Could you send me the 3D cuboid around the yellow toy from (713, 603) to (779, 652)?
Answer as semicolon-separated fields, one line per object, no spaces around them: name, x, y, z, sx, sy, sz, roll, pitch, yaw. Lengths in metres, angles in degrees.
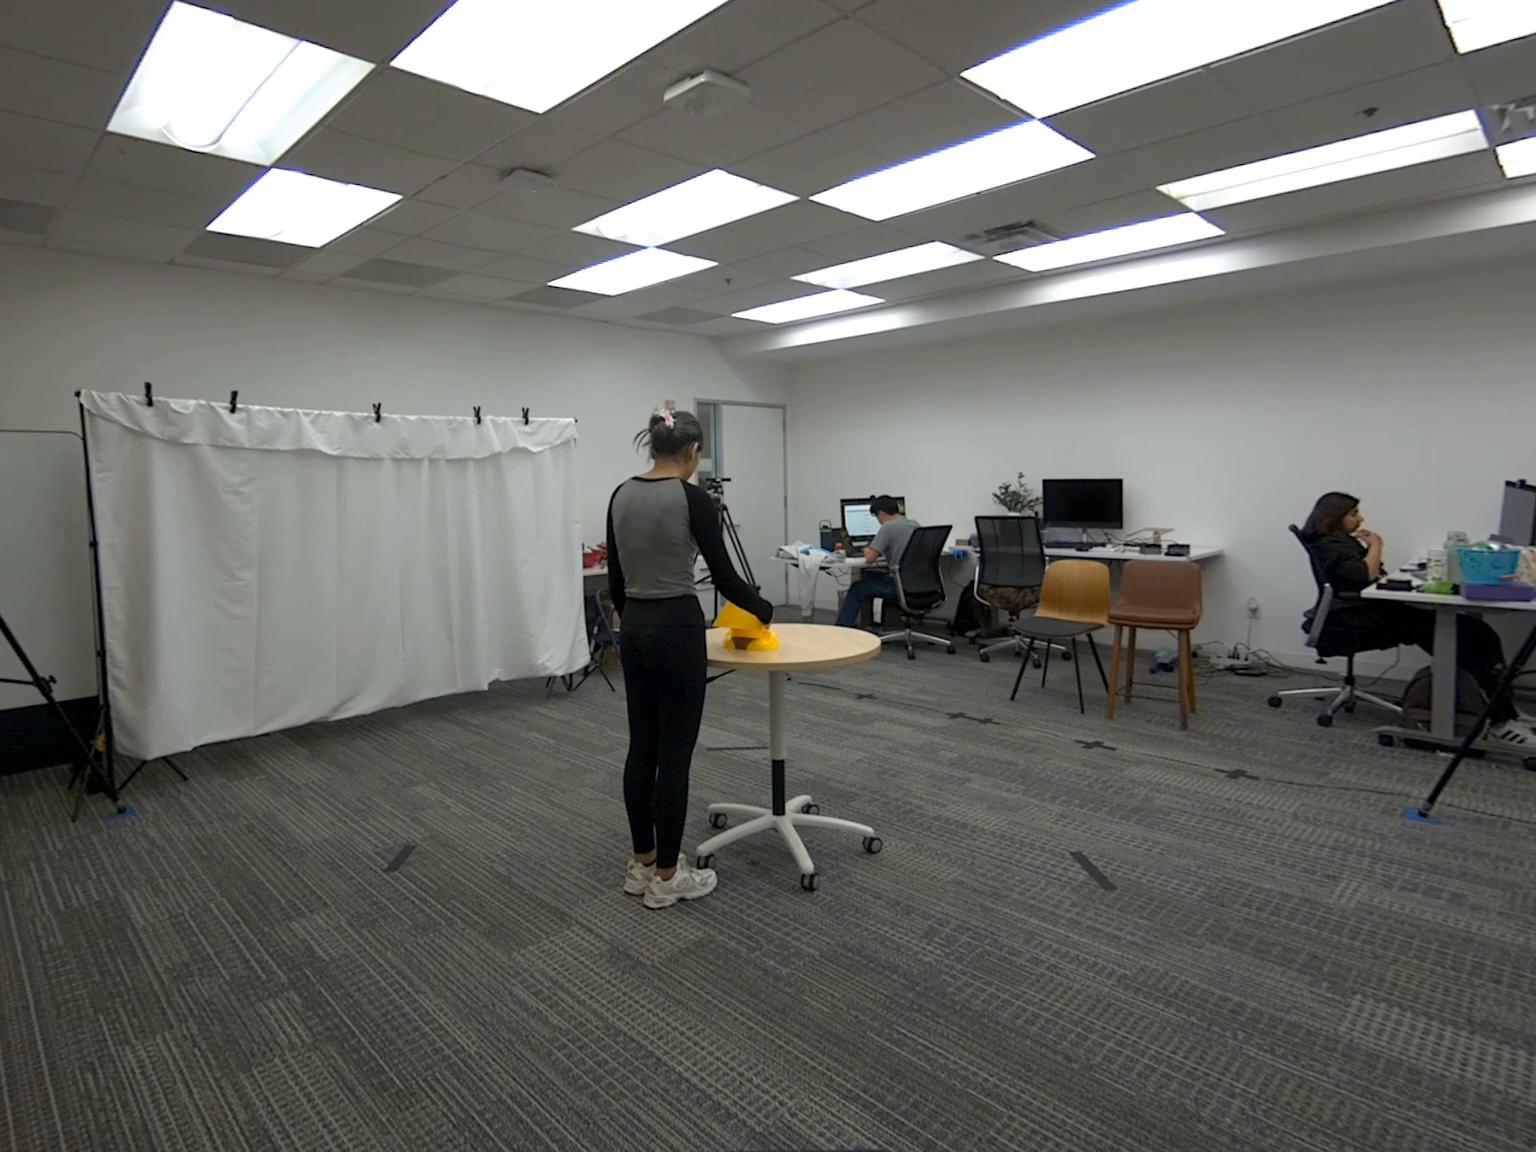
yellow toy;-0.069;0.140;3.075;0.210;0.230;0.189;1;4;29
